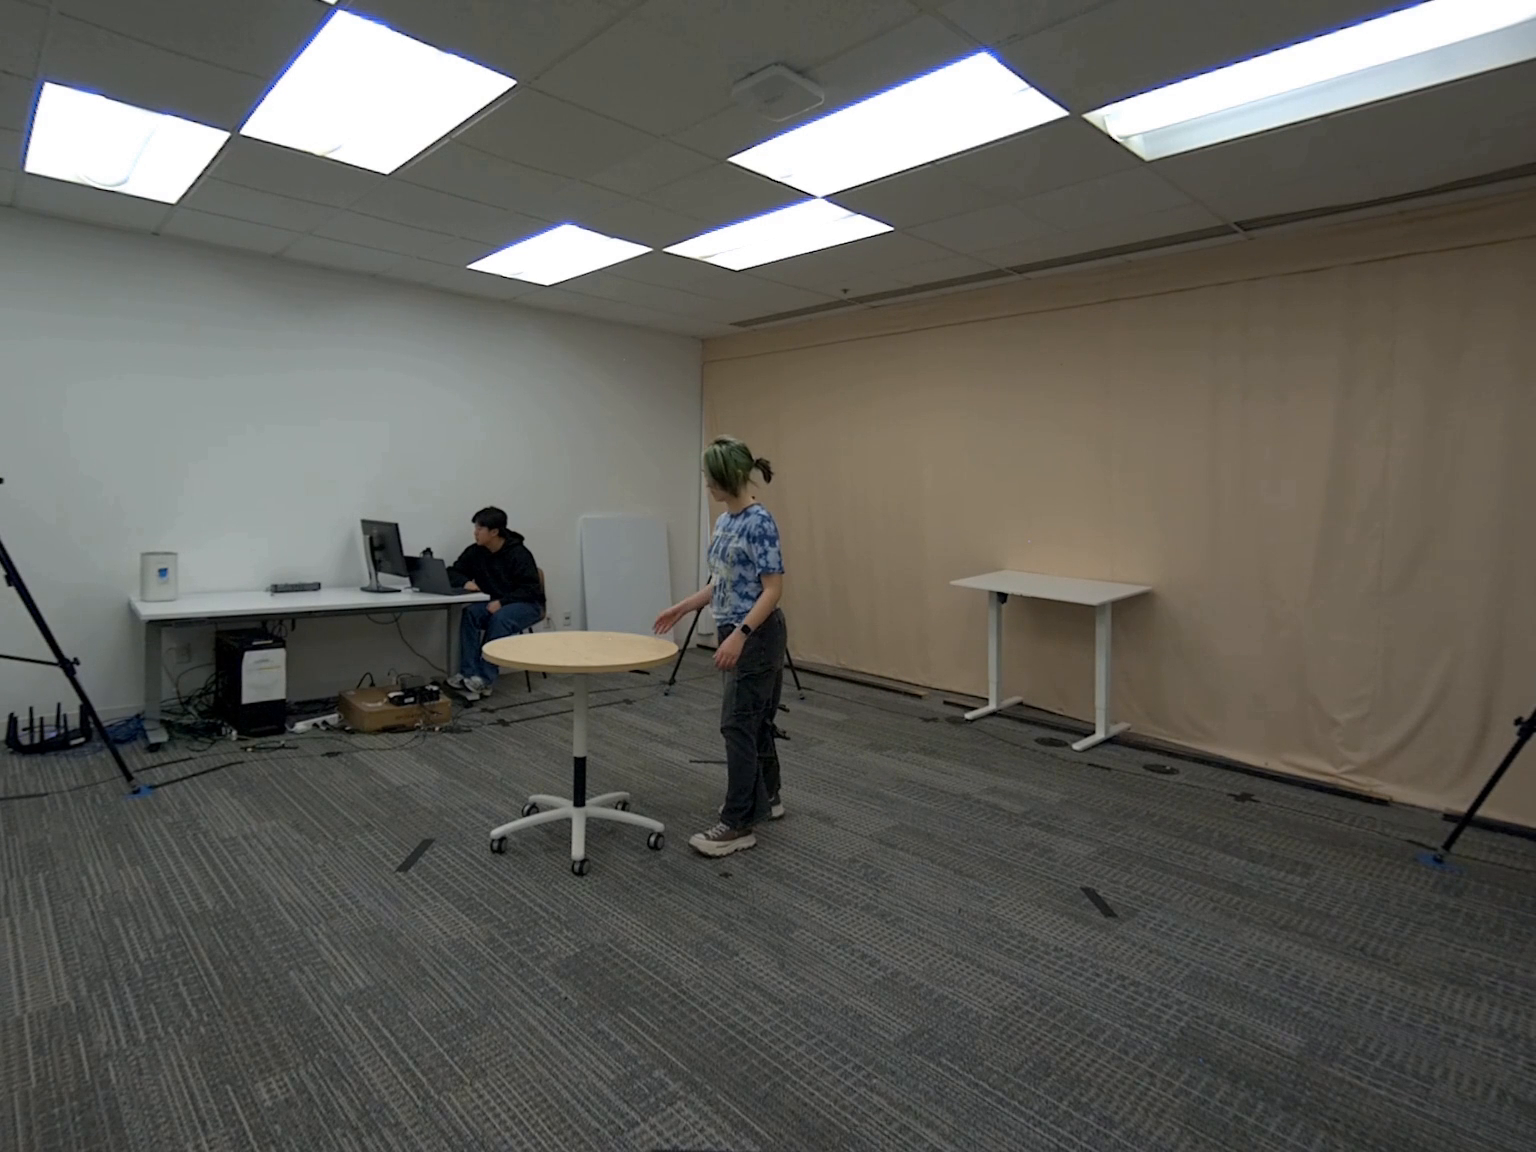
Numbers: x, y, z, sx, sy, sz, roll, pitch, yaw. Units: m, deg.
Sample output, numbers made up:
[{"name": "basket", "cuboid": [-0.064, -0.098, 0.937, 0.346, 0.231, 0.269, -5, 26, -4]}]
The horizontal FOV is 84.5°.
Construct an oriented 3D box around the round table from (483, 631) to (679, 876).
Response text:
[{"name": "round table", "cuboid": [-0.755, 0.678, 3.368, 0.763, 0.792, 0.766, 1, 4, -1]}]
